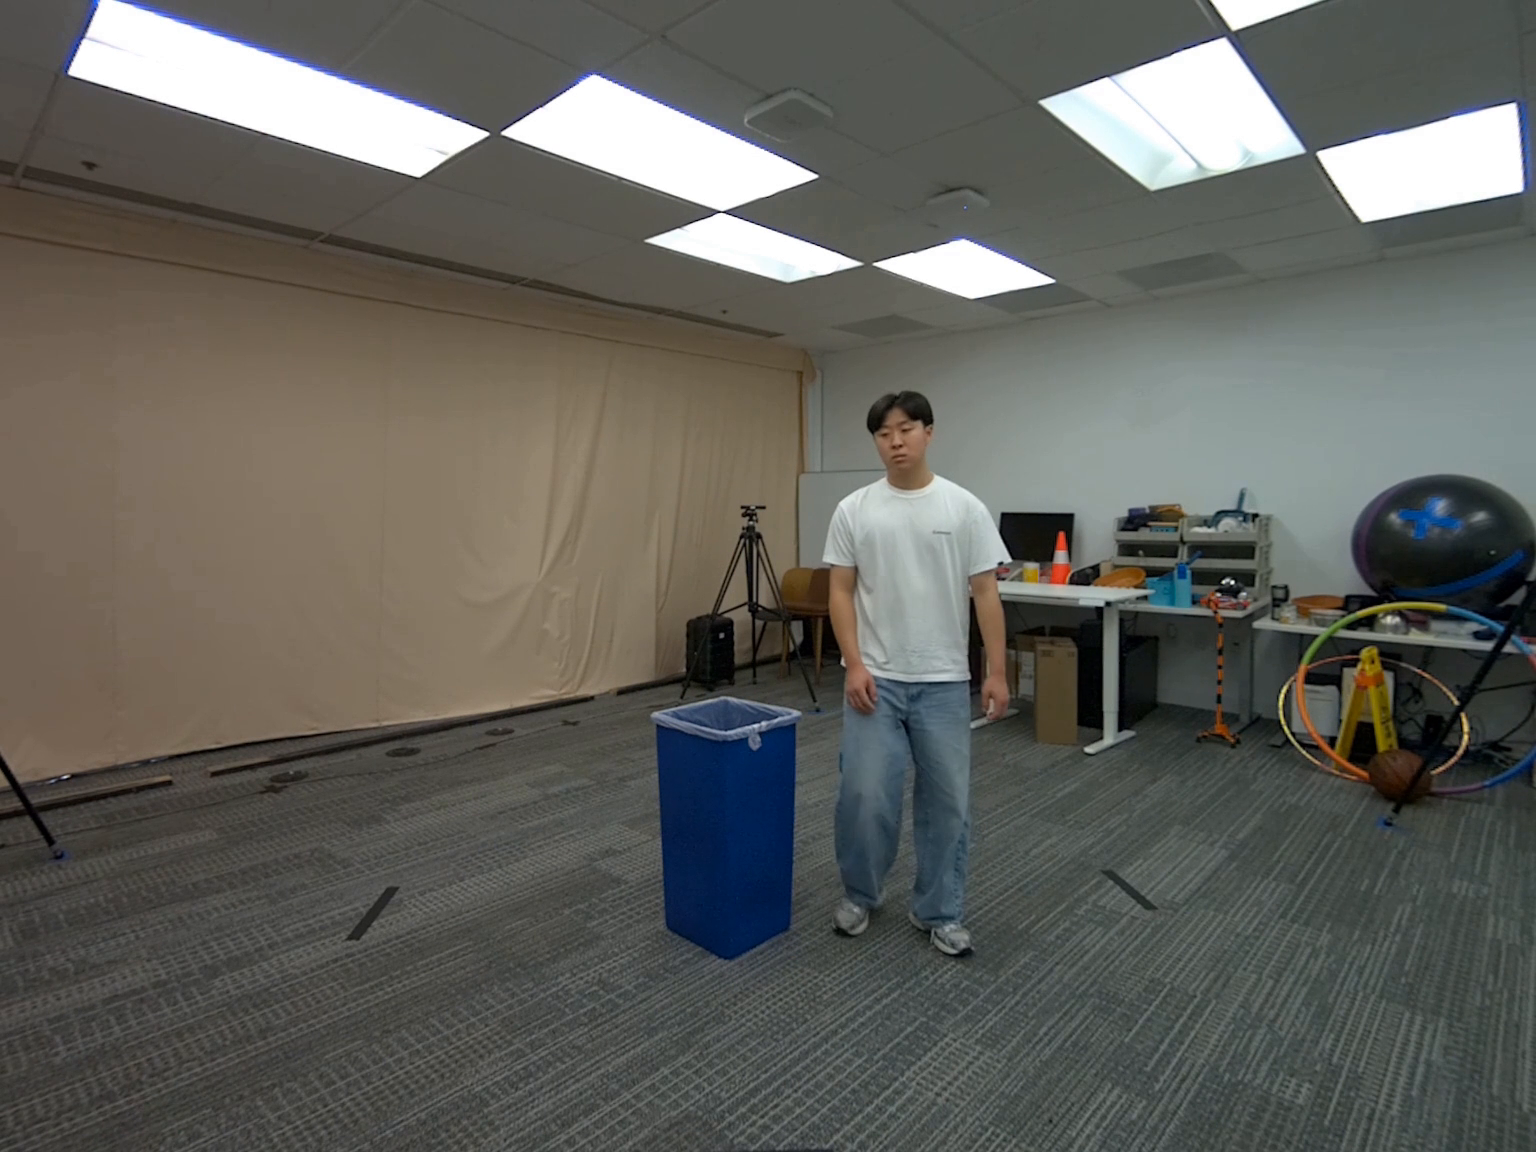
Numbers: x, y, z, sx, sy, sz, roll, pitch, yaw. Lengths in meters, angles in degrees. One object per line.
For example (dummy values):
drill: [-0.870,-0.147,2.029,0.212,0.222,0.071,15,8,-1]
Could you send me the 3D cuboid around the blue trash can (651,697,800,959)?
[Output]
blue trash can: [-0.140,0.804,2.770,0.386,0.712,0.366,4,4,43]
